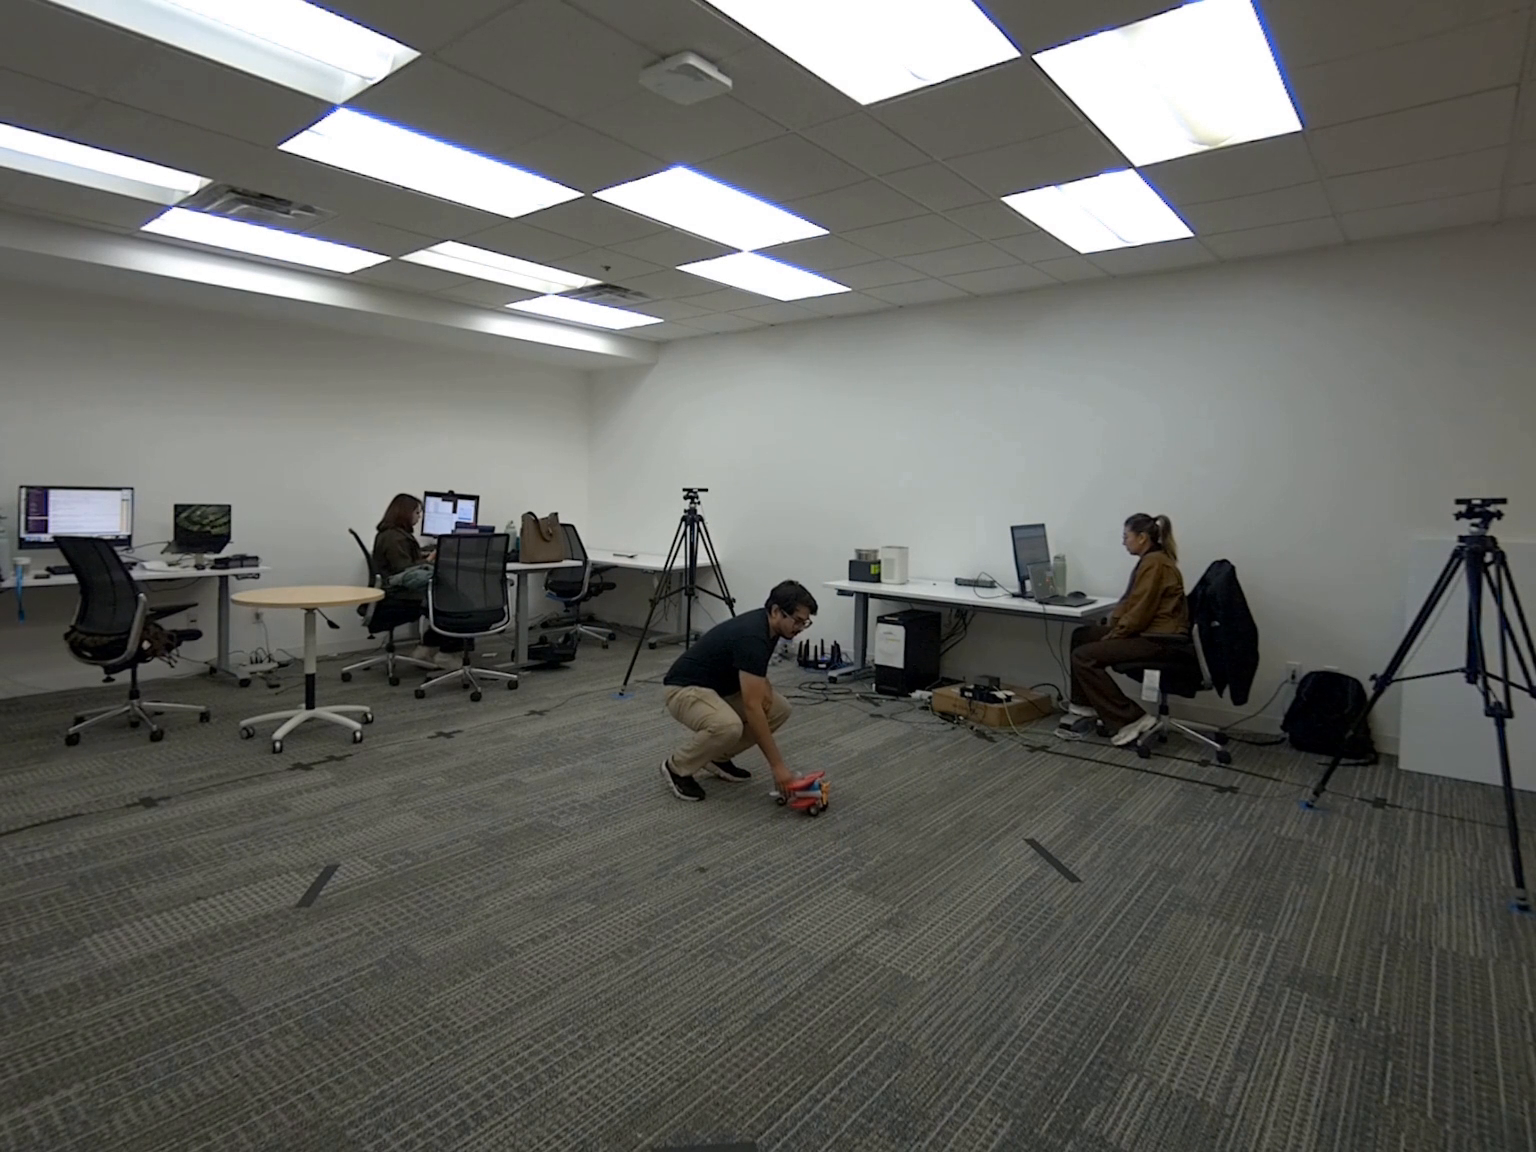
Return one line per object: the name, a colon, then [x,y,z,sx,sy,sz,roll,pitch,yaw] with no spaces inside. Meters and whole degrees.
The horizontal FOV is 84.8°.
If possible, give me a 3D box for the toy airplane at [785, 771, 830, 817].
toy airplane: [0.128,0.941,3.711,0.260,0.156,0.251,4,4,0]
